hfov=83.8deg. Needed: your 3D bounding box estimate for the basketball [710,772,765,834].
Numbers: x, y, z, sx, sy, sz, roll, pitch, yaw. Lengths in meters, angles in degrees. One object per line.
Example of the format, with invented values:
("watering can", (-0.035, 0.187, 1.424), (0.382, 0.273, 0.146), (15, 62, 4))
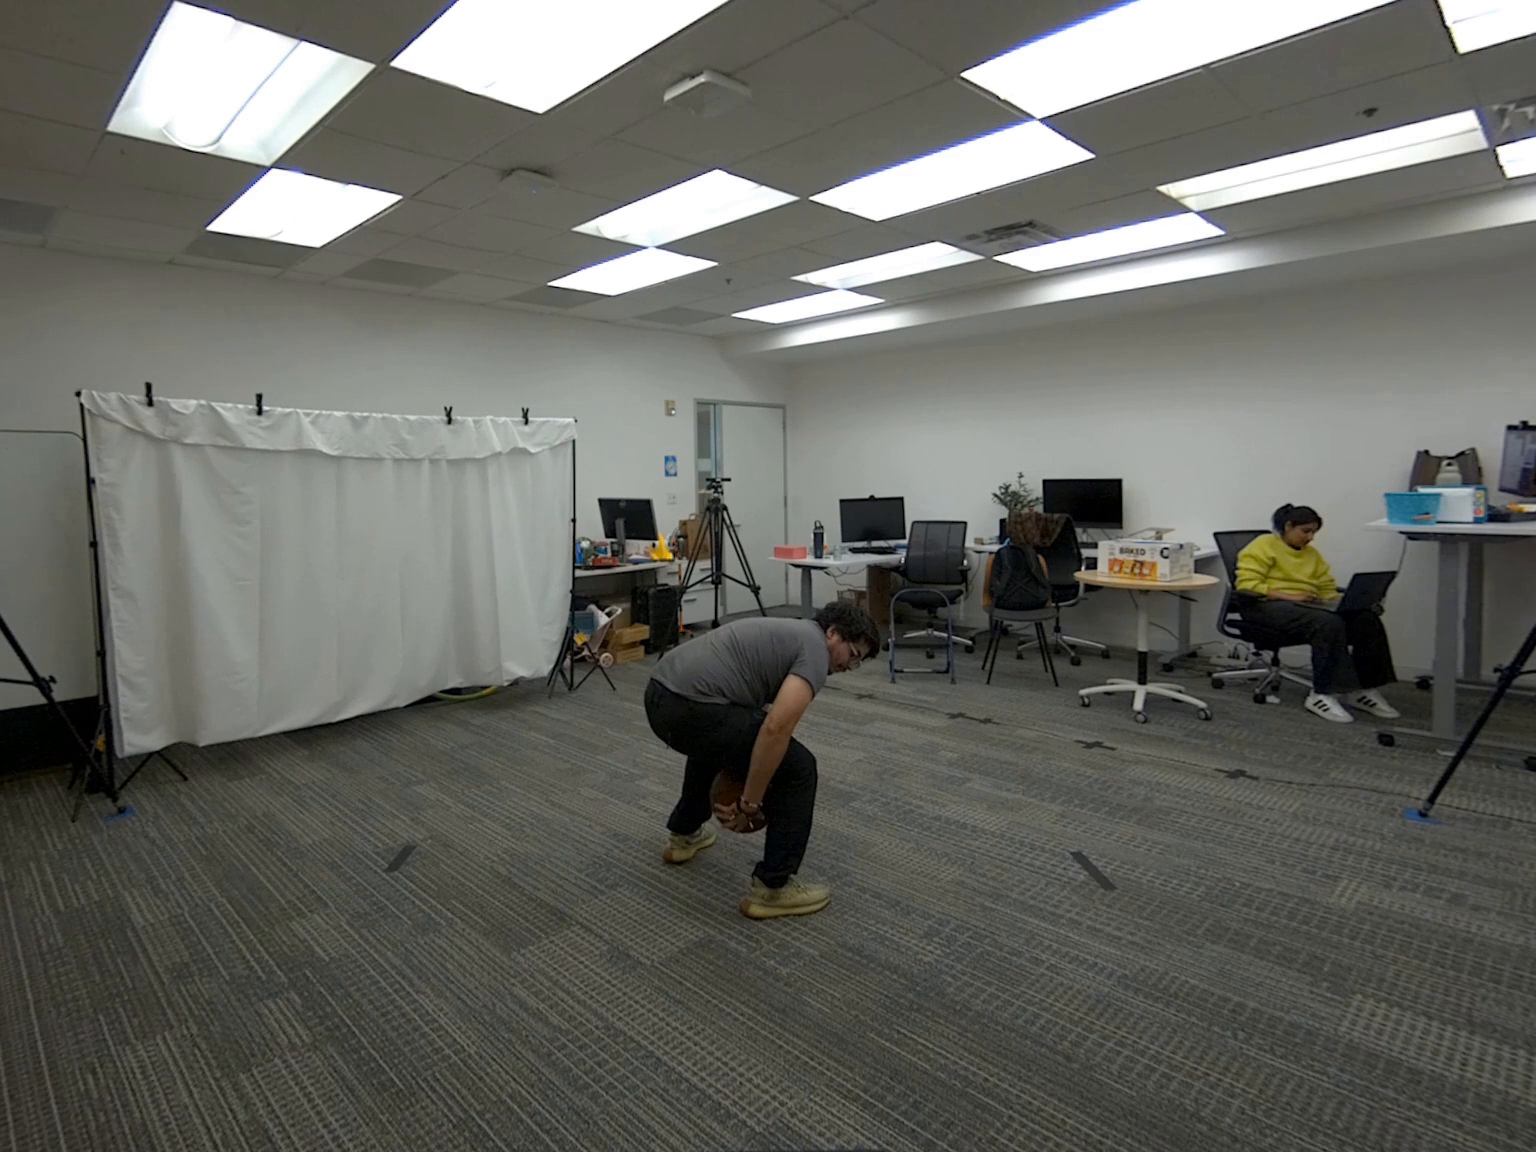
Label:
("basketball", (-0.073, 0.760, 2.920), (0.236, 0.235, 0.237), (-1, 5, -2))
